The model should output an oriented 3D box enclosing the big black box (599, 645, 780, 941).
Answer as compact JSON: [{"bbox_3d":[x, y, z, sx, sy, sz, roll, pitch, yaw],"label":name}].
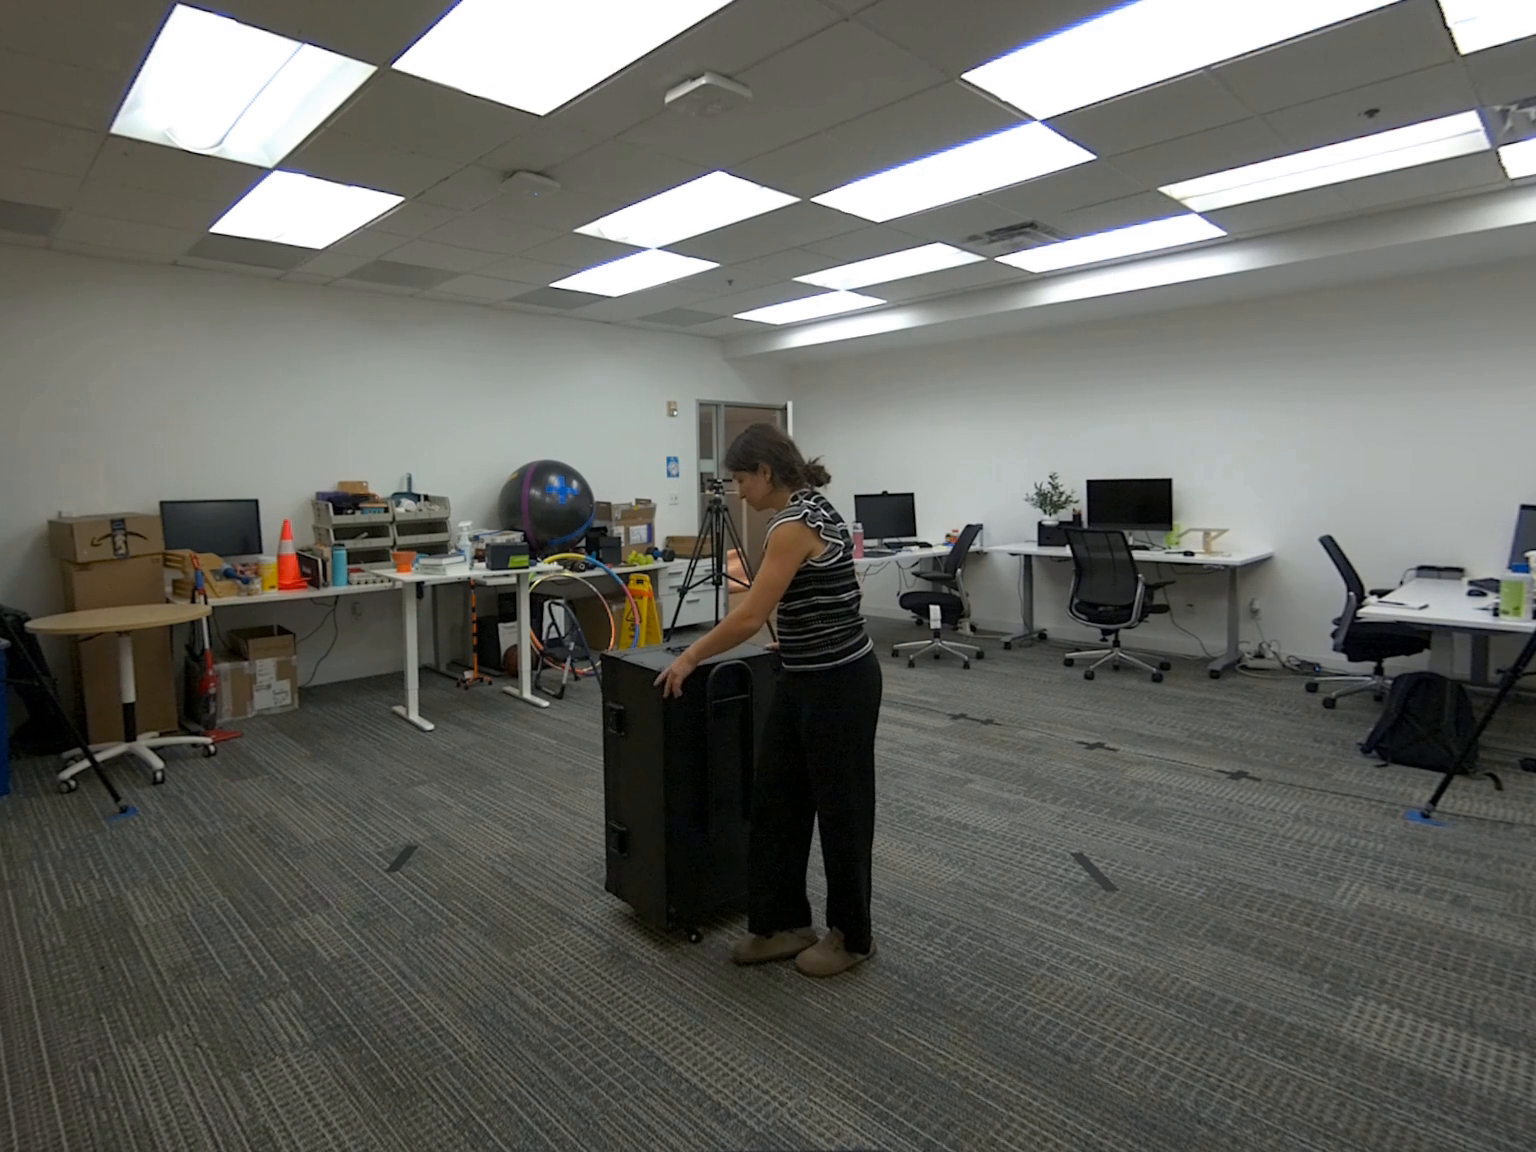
[{"bbox_3d":[-0.224,0.661,2.756,0.507,0.858,0.409,-4,7,-41],"label":"big black box"}]
